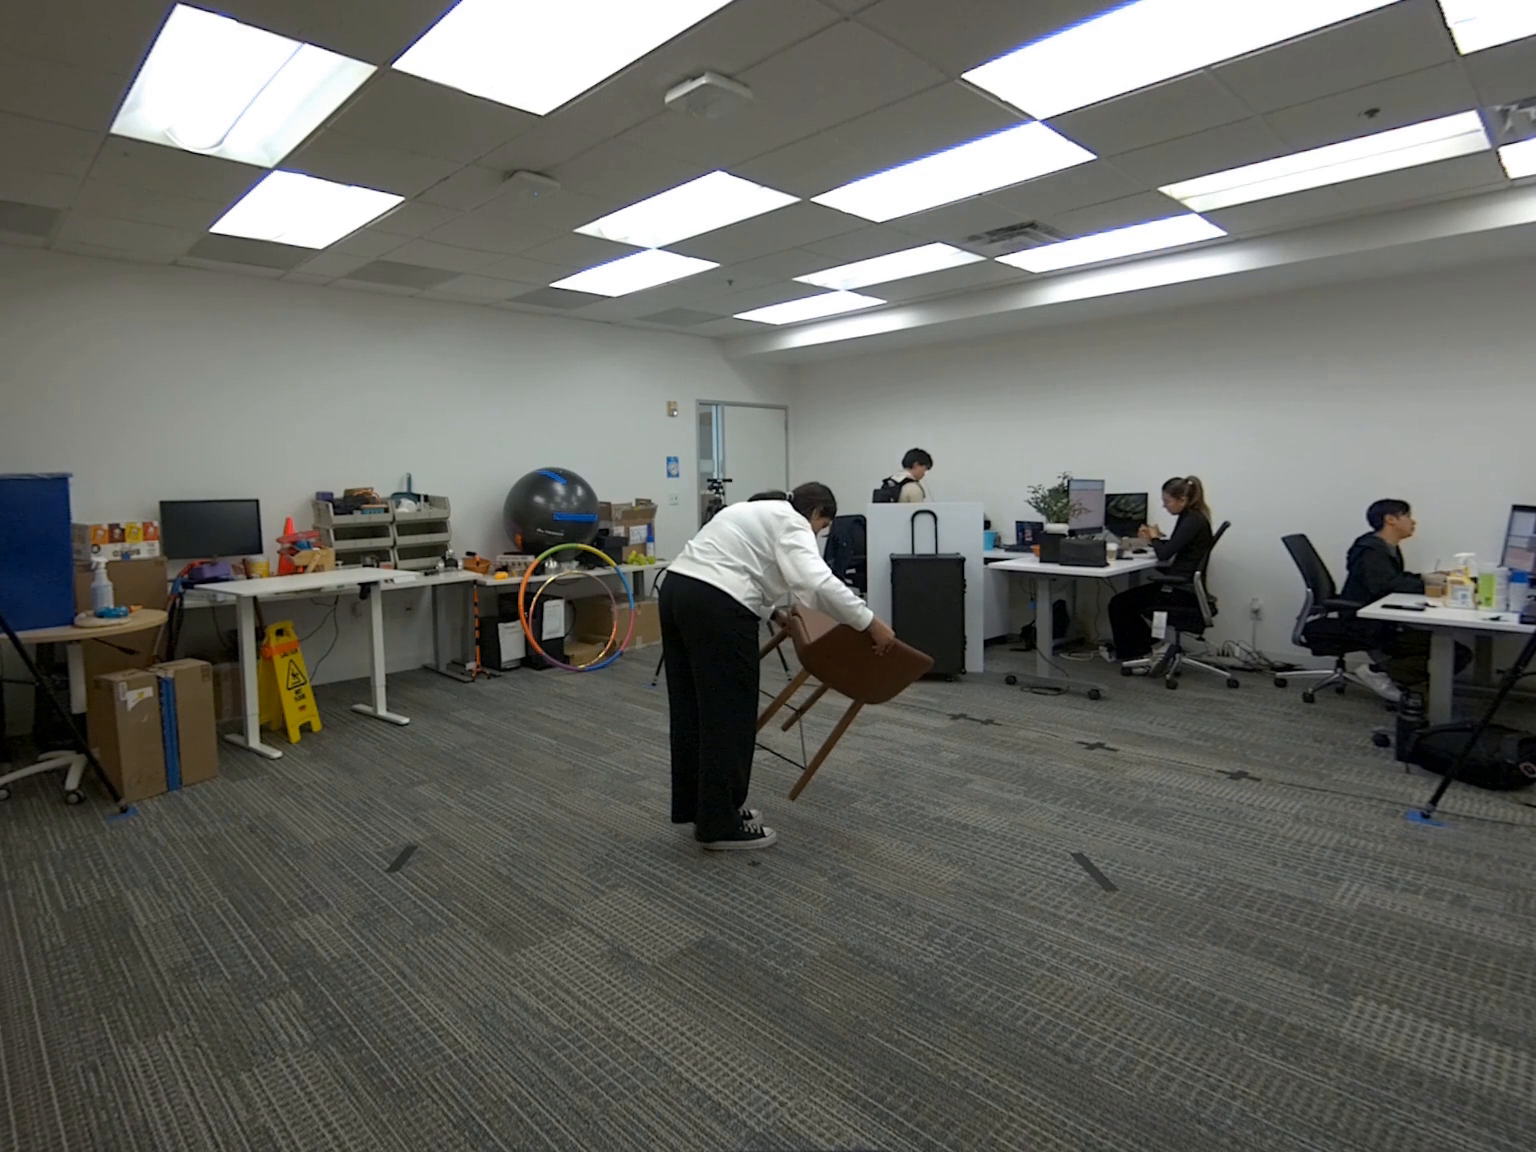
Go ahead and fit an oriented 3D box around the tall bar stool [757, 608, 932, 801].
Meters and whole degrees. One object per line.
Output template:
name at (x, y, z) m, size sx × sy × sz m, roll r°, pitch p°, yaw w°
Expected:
tall bar stool at (0.191, 0.424, 3.503) m, size 0.446 × 0.888 × 0.480 m, roll 31°, pitch 25°, yaw -20°
